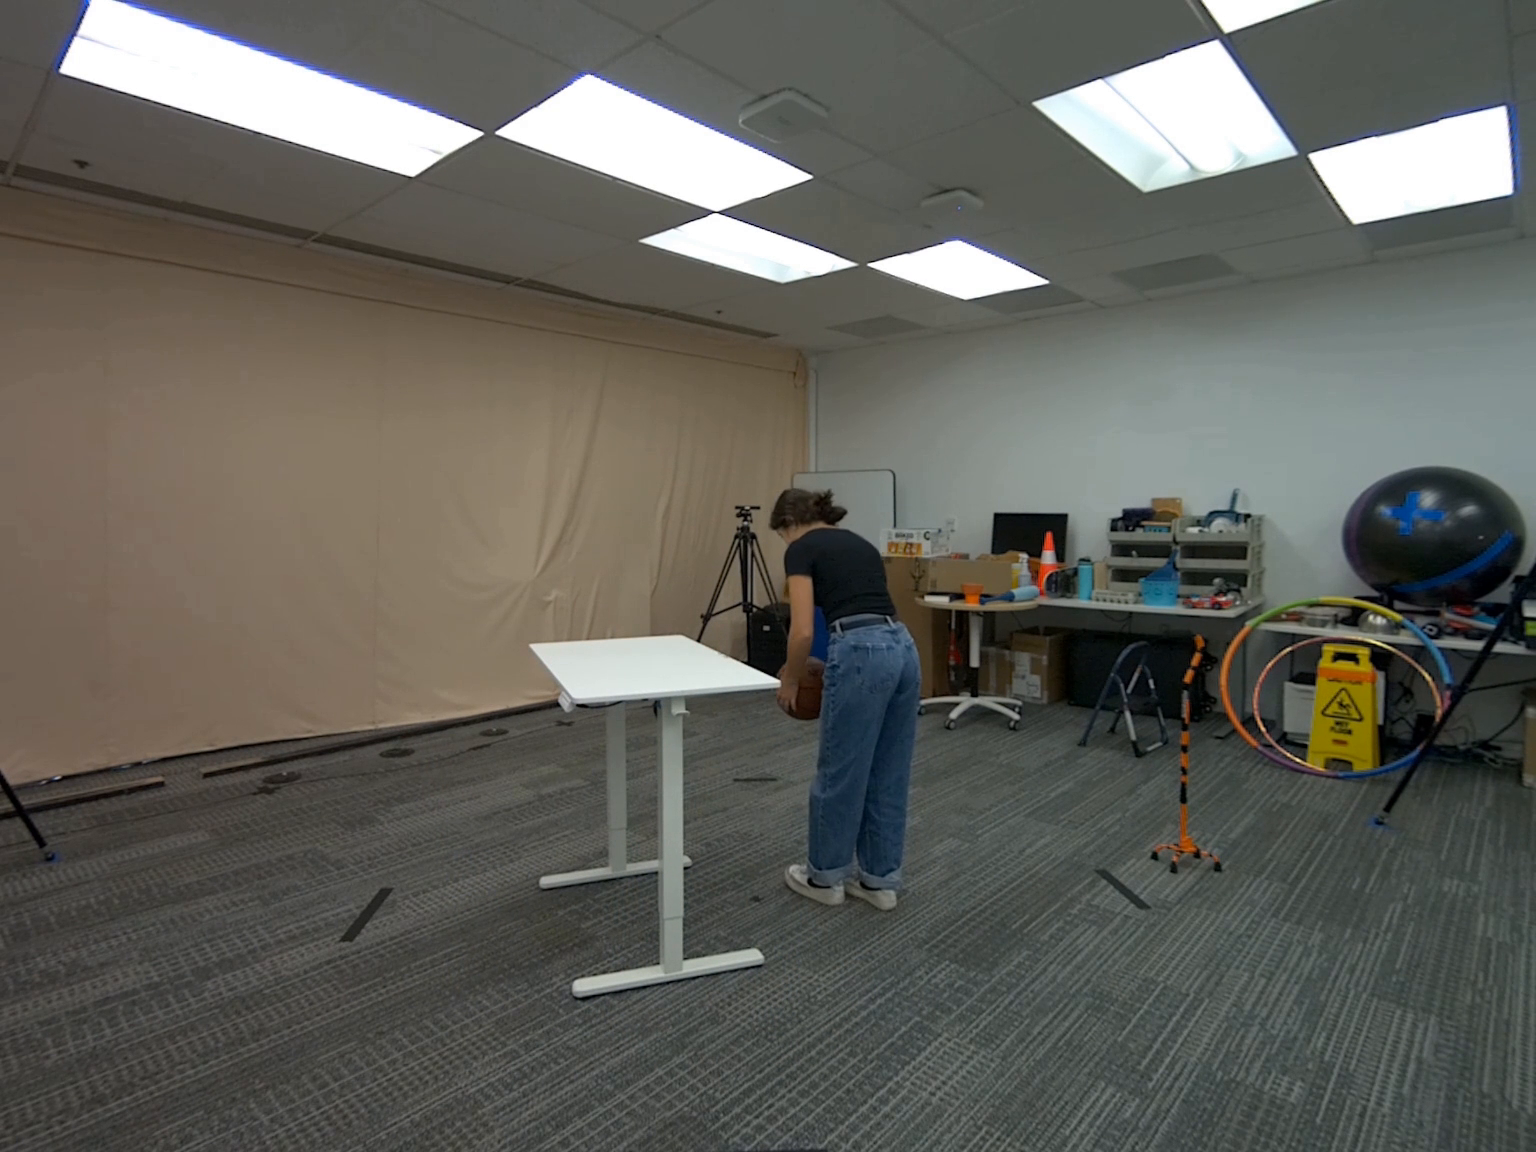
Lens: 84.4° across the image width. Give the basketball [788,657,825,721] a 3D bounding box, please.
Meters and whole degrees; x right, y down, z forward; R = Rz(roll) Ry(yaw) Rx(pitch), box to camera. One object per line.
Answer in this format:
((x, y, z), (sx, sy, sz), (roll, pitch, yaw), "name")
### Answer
((0.144, 0.422, 3.159), (0.236, 0.235, 0.237), (0, 4, -2), "basketball")
